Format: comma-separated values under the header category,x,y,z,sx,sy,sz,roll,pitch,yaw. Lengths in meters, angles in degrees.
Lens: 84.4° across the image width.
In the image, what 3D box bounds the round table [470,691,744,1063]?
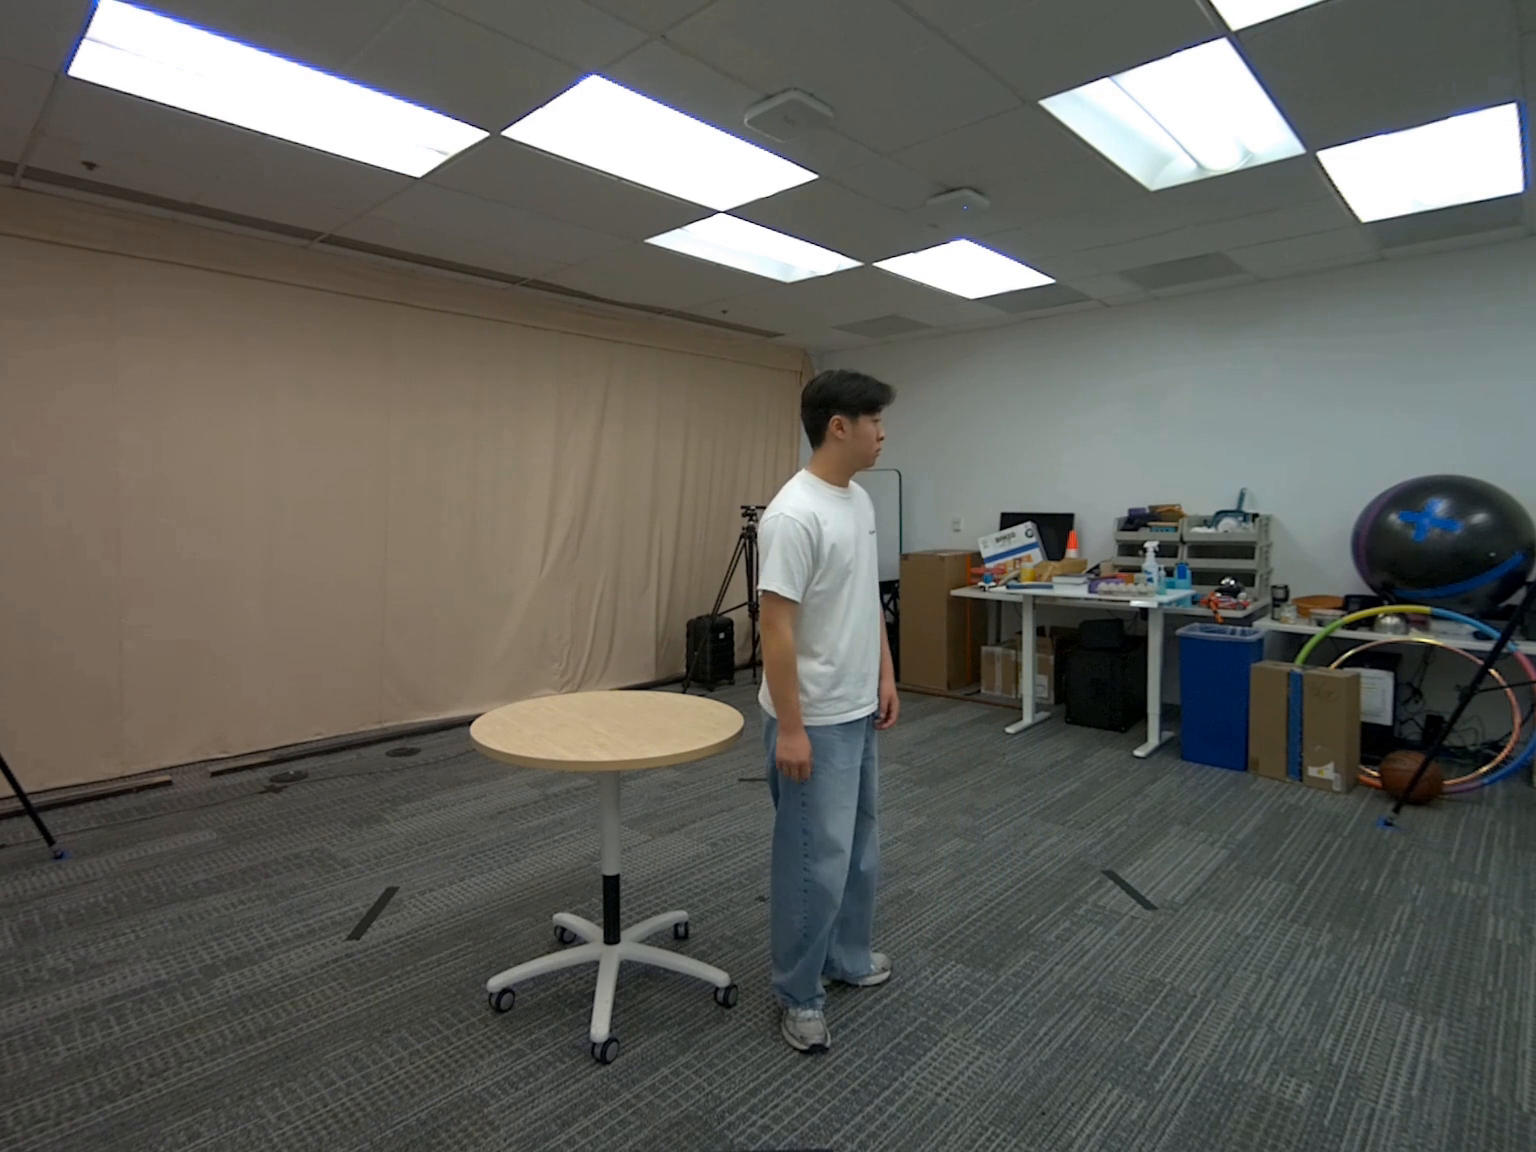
category,x,y,z,sx,sy,sz,roll,pitch,yaw
round table,-0.445,0.807,2.413,0.763,0.792,0.766,0,3,-2
